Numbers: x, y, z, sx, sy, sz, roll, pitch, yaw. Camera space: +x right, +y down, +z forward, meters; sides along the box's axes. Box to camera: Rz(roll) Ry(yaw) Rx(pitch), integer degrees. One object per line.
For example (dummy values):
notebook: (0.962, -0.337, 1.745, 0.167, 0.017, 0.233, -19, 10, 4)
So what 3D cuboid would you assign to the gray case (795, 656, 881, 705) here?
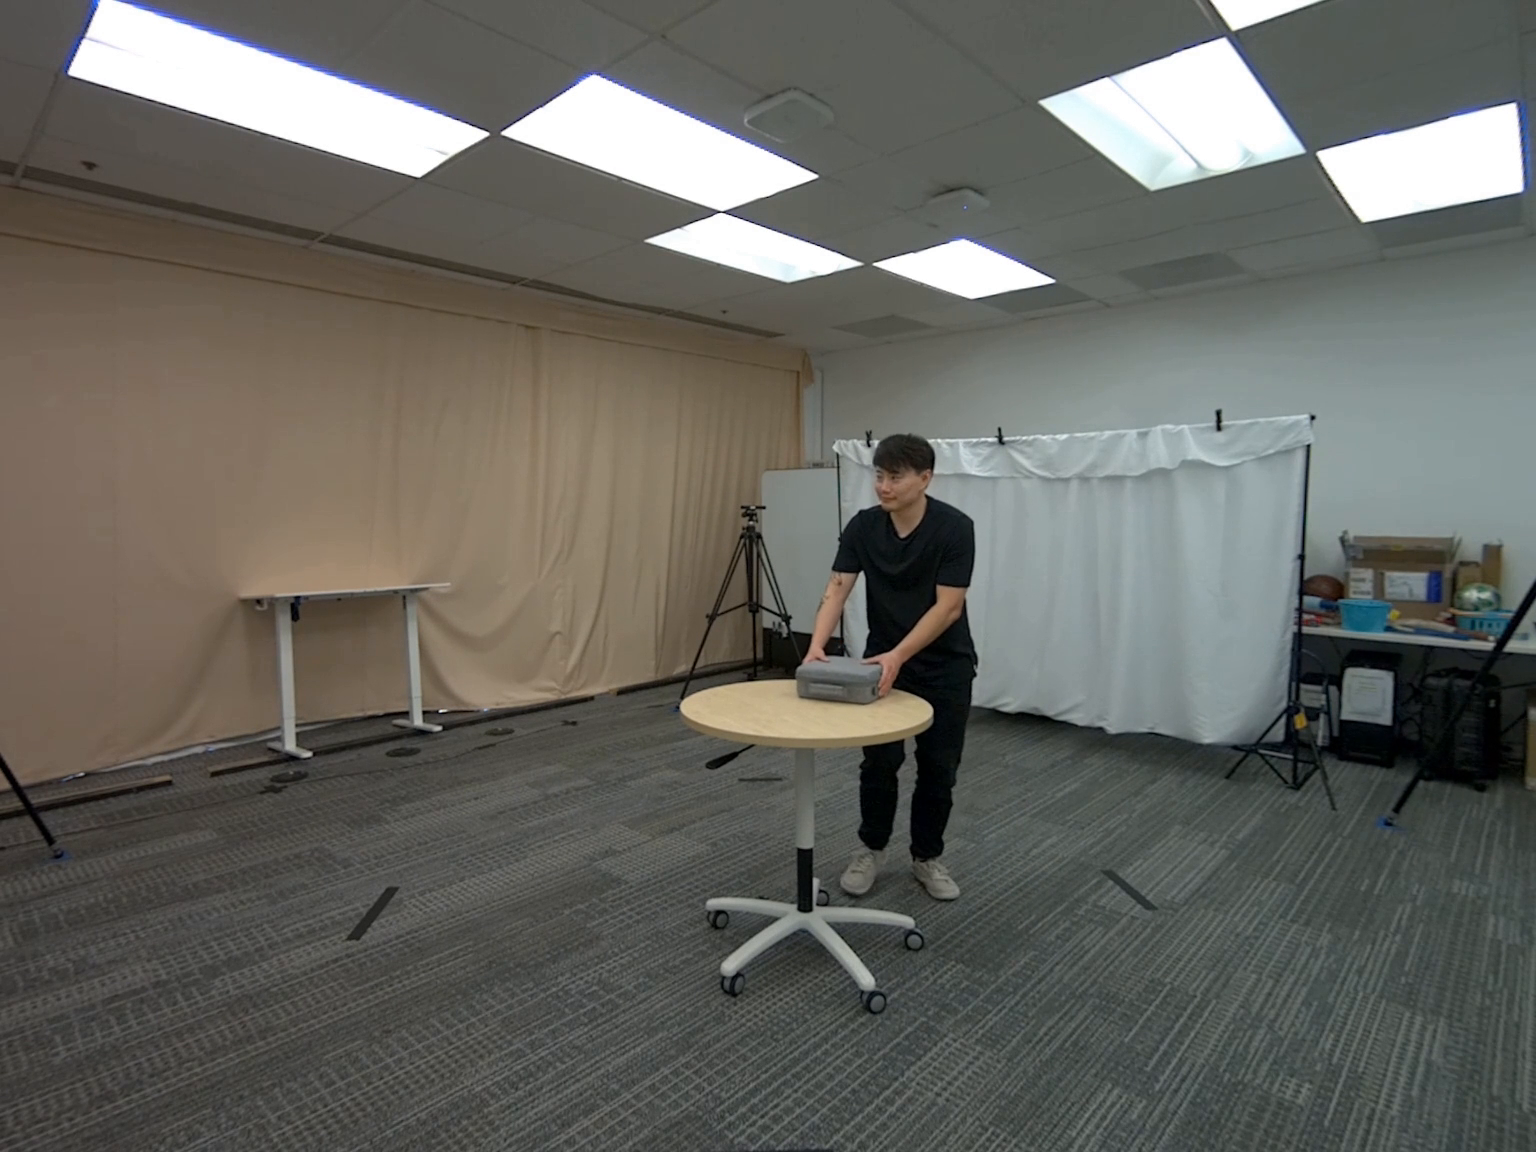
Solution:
gray case: (0.242, 0.333, 2.715, 0.264, 0.104, 0.254, 3, 5, 27)
